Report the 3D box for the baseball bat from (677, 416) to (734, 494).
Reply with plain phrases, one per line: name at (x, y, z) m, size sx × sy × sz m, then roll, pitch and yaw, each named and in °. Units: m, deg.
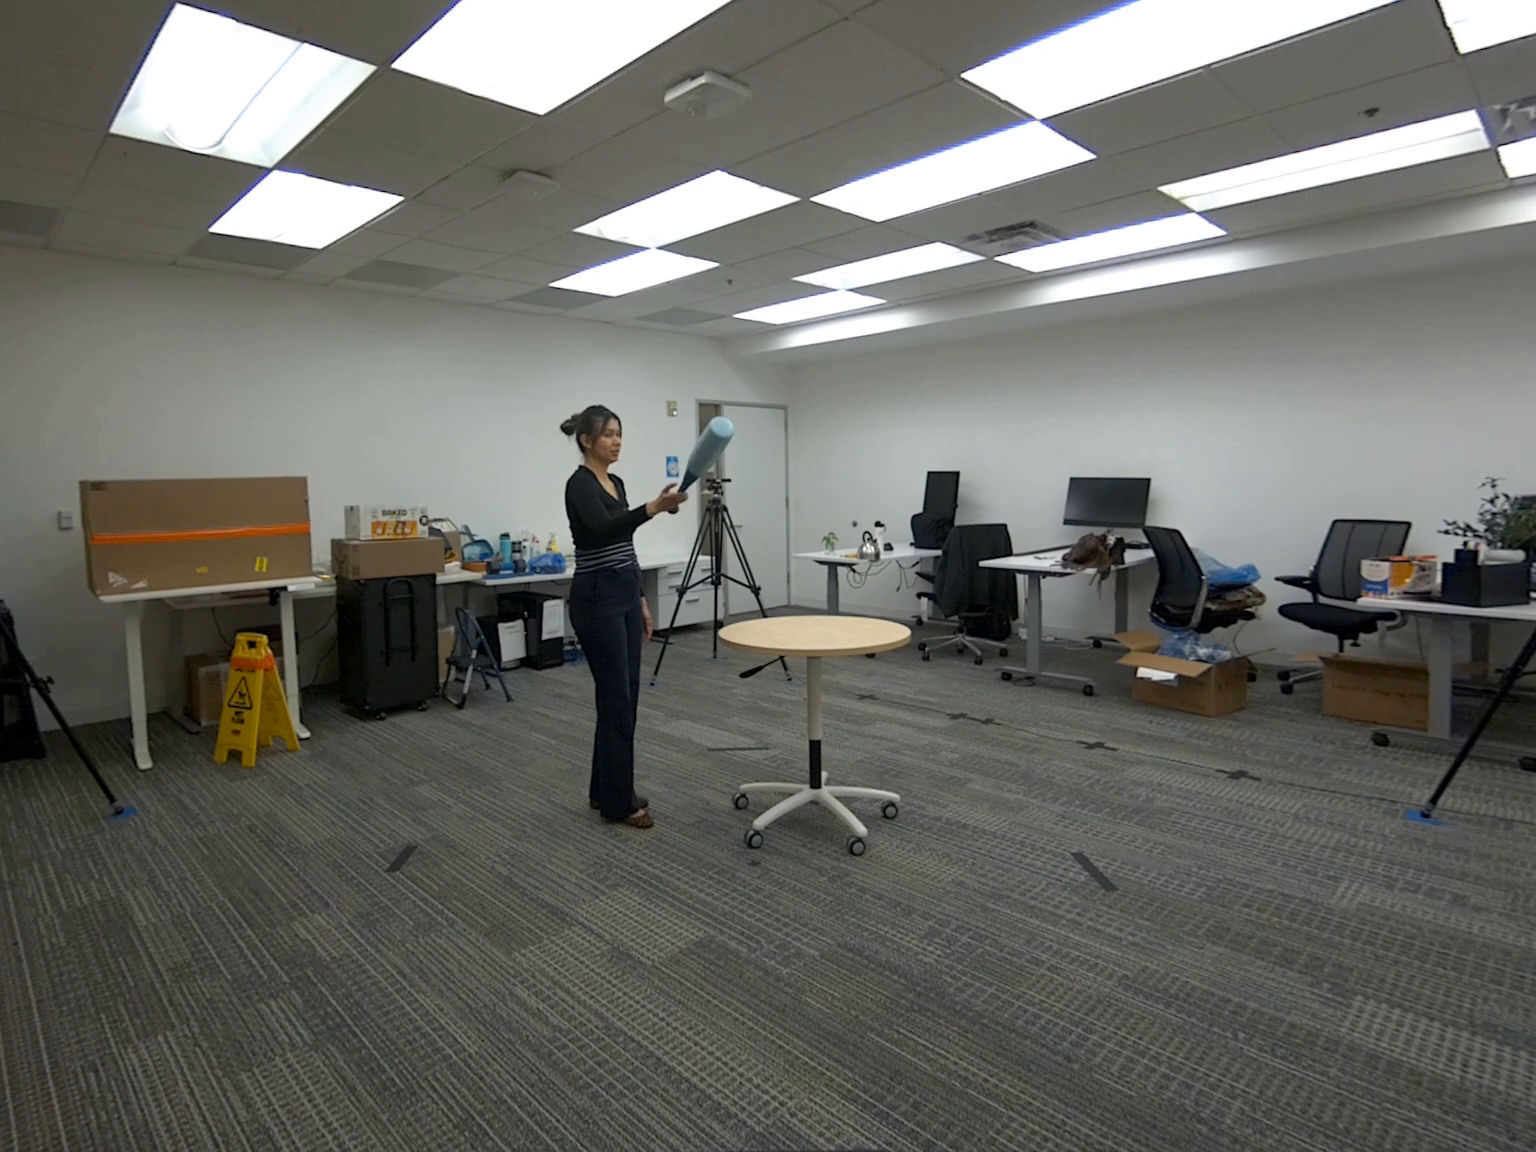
baseball bat at (-0.262, -0.355, 2.893) m, size 0.087 × 0.091 × 0.542 m, roll -3°, pitch -24°, yaw -27°
